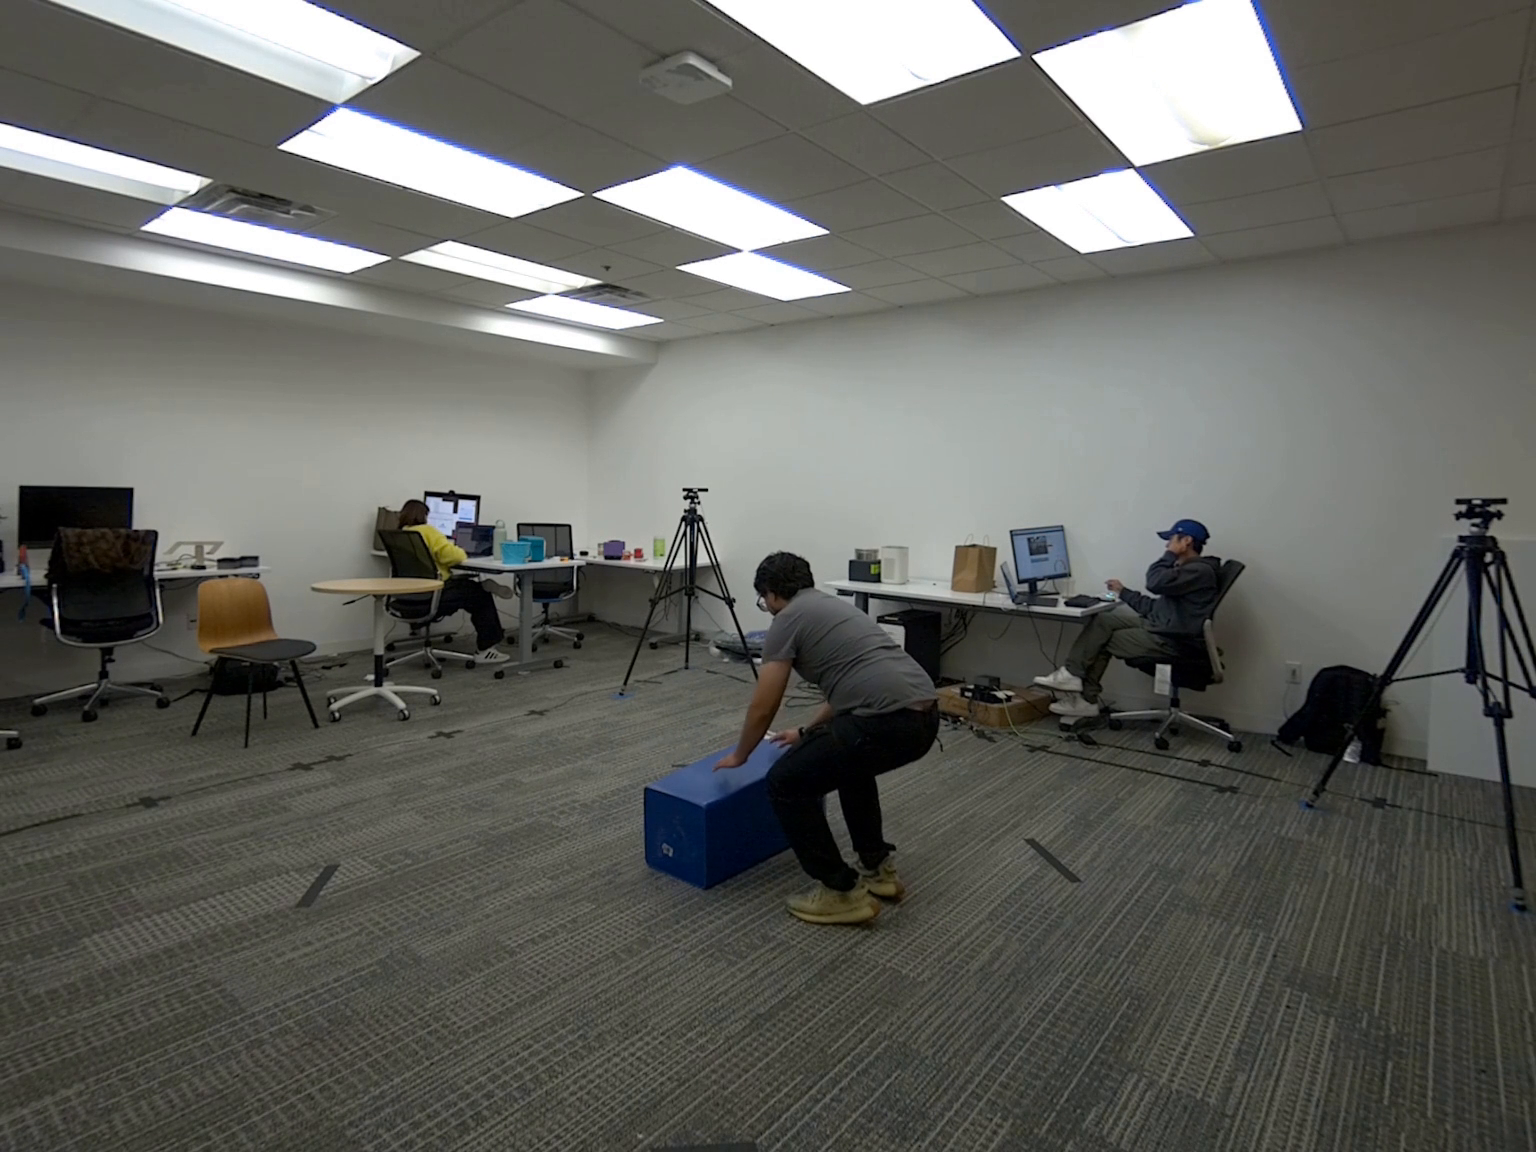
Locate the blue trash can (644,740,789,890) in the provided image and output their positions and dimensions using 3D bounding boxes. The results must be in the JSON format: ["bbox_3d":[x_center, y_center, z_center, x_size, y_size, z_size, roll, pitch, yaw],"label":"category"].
[{"bbox_3d":[-0.138,0.880,3.294,0.387,0.376,0.694,6,8,39],"label":"blue trash can"}]
